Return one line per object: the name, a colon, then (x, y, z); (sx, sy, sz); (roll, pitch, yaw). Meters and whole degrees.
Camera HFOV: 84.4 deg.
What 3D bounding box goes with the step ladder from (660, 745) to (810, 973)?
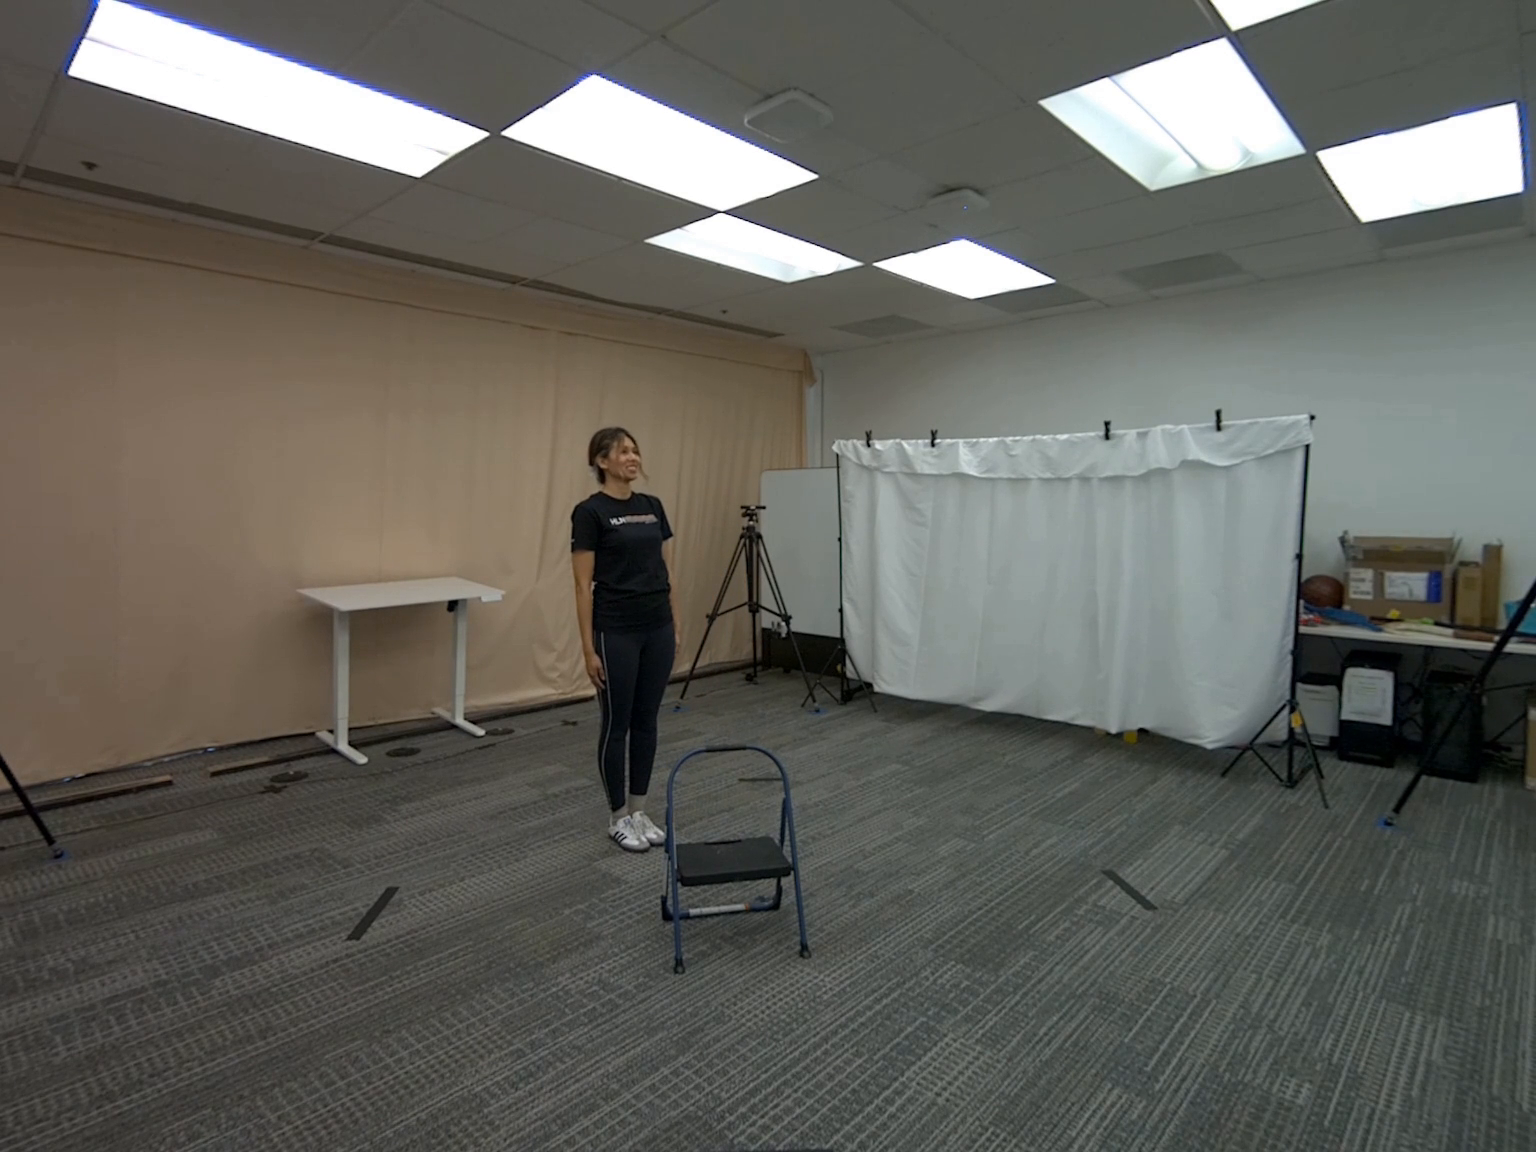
step ladder: (-0.114, 0.871, 2.699); (0.425, 0.604, 0.355); (-1, 4, -13)
